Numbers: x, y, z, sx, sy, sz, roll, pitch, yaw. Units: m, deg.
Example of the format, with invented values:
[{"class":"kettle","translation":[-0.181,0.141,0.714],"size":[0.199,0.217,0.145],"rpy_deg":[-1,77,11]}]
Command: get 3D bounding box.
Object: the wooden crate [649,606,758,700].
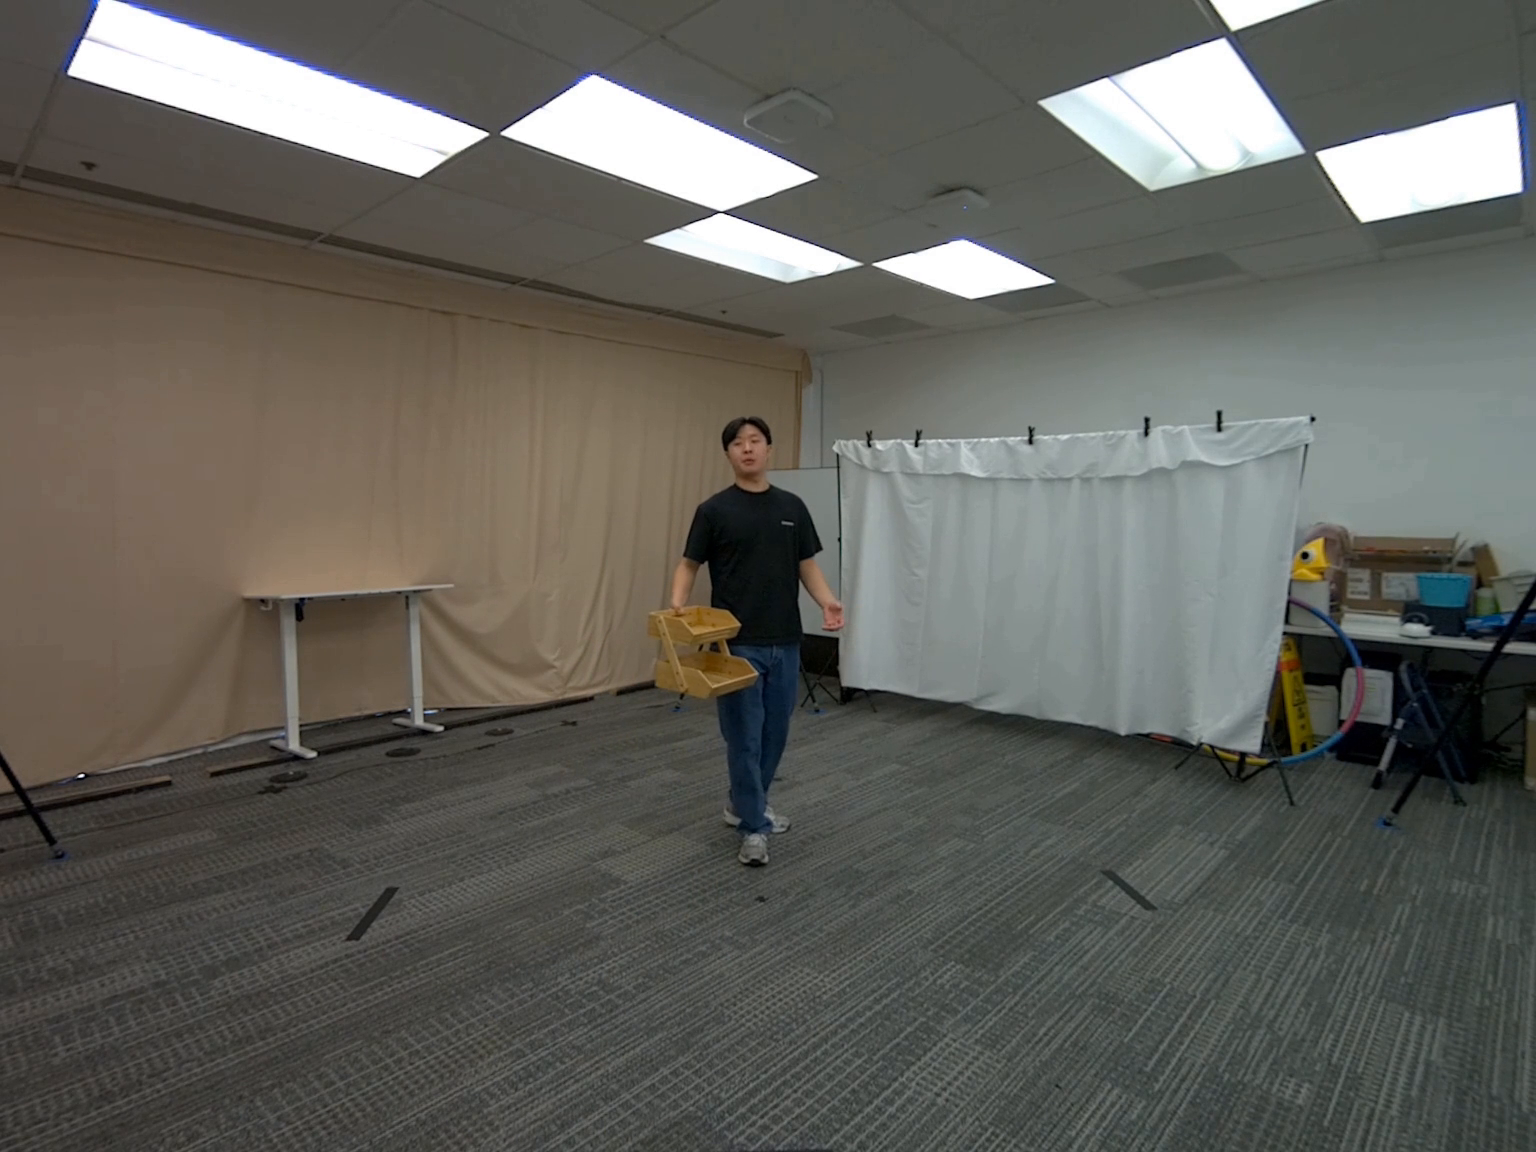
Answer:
[{"class":"wooden crate","translation":[-0.228,0.263,3.084],"size":[0.311,0.272,0.315],"rpy_deg":[7,6,32]}]
